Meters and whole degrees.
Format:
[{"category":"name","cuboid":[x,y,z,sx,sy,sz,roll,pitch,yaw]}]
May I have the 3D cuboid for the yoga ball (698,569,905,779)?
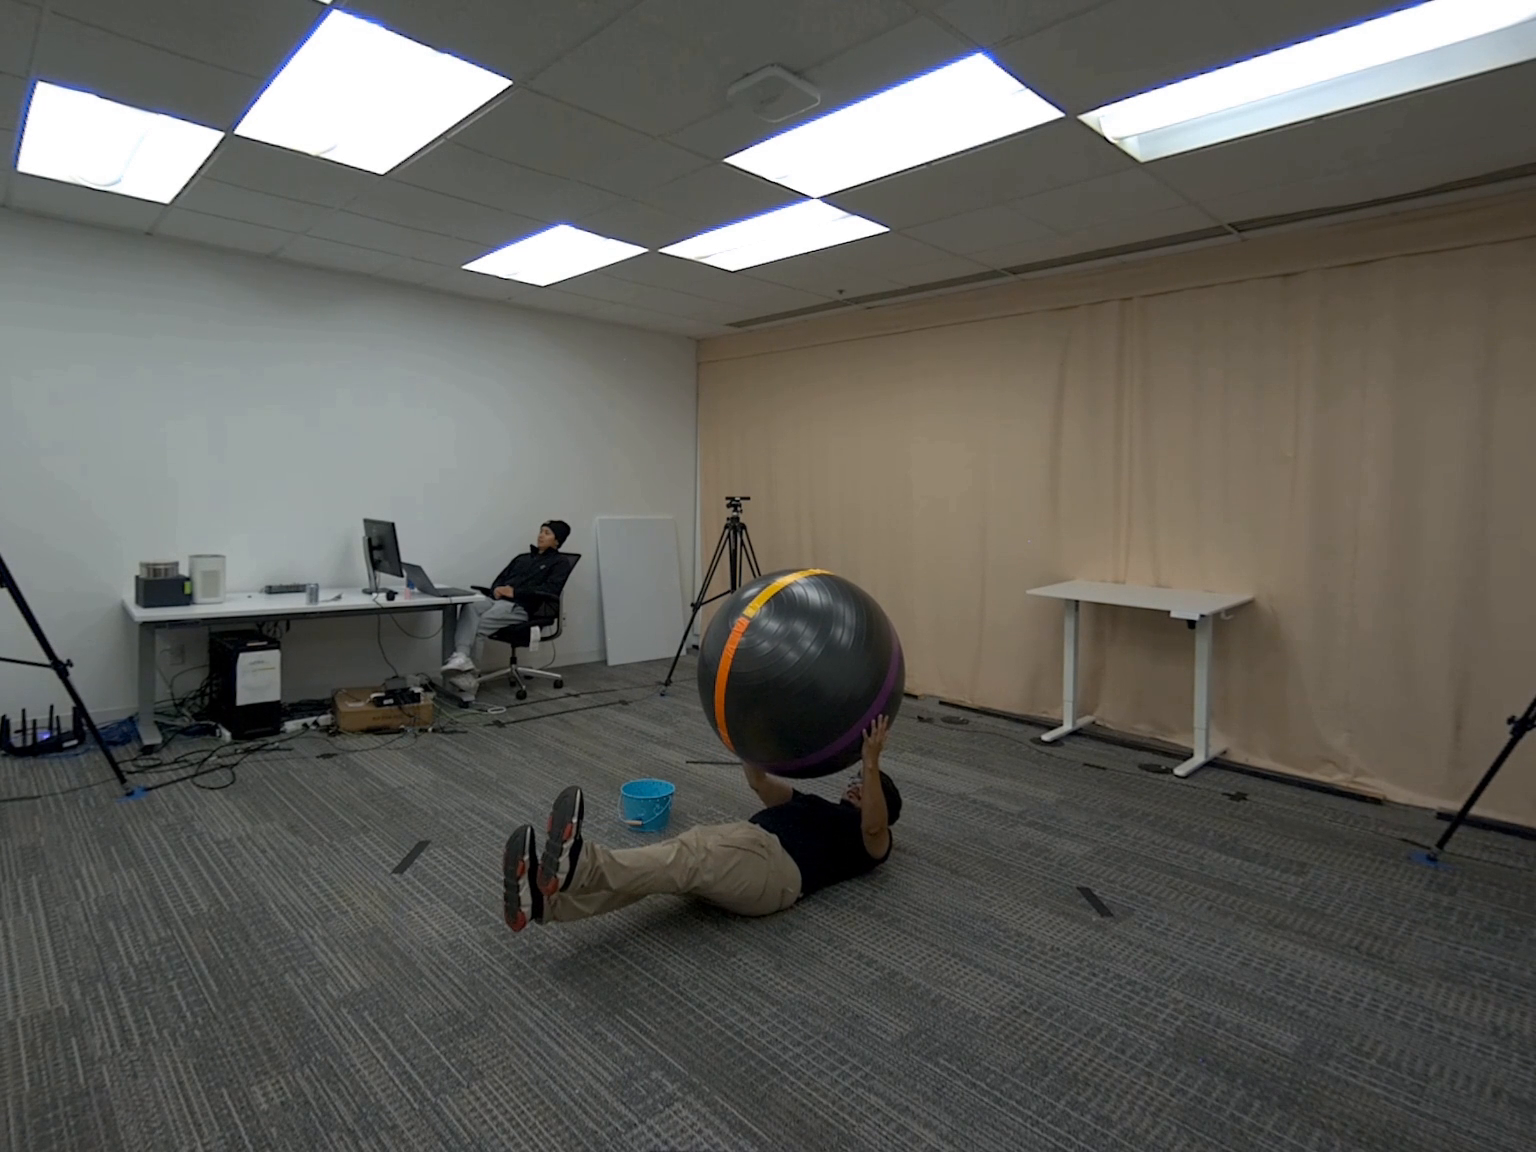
[{"category":"yoga ball","cuboid":[0.118,0.358,3.083,0.757,0.755,0.761,1,5,-1]}]
